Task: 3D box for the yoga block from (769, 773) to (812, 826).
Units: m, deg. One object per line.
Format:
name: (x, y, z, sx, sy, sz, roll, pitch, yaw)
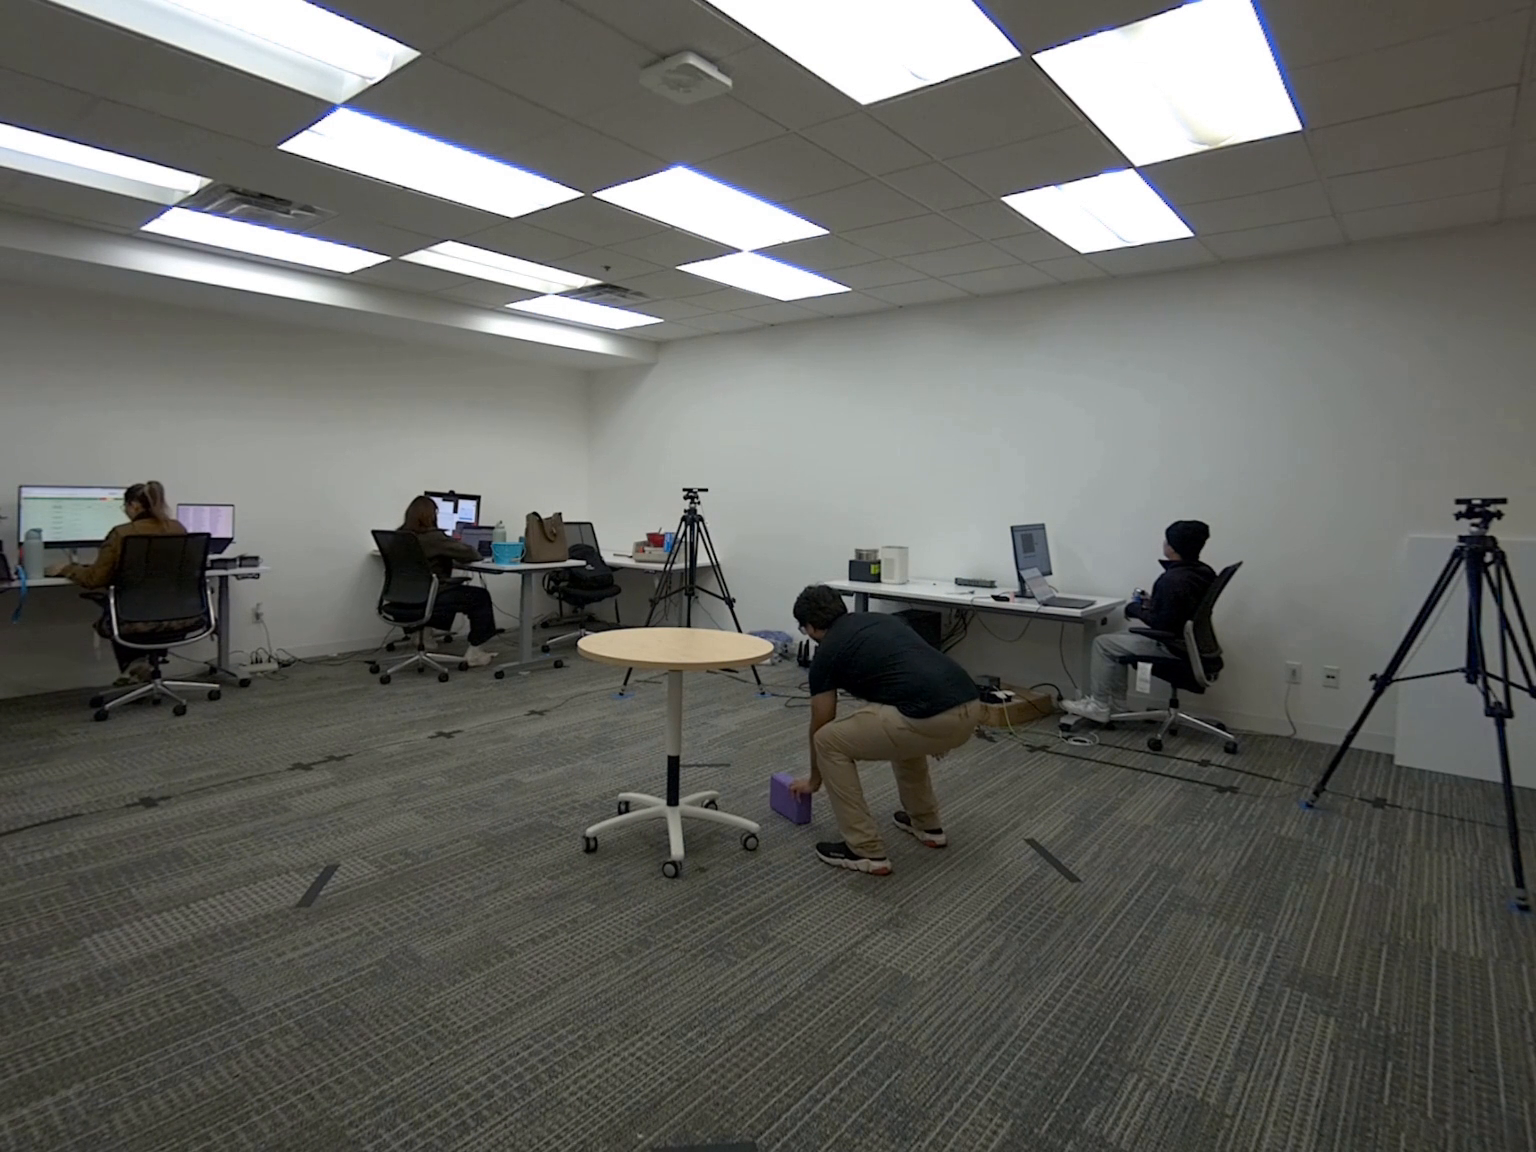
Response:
yoga block: (0.085, 0.941, 3.660, 0.074, 0.148, 0.236, -2, 6, -30)
